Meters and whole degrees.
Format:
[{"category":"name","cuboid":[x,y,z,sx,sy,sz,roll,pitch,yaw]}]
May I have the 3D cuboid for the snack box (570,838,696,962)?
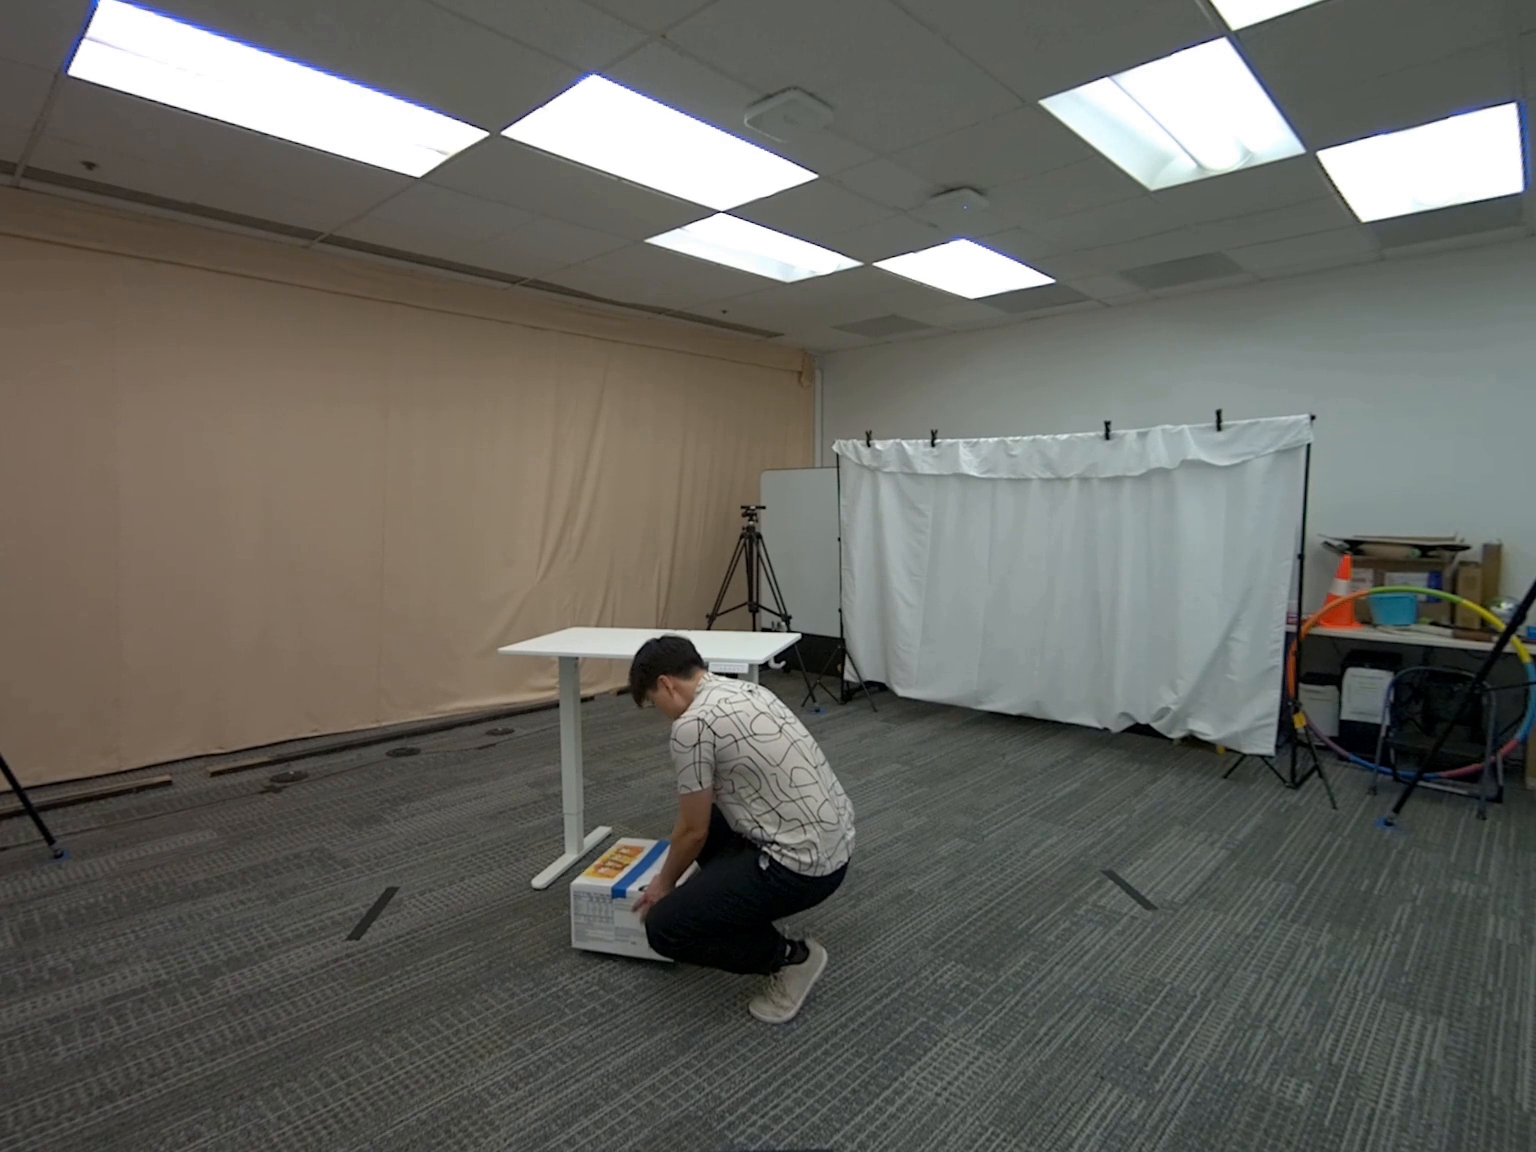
[{"category":"snack box","cuboid":[-0.400,1.034,2.731,0.346,0.205,0.399,0,3,15]}]
